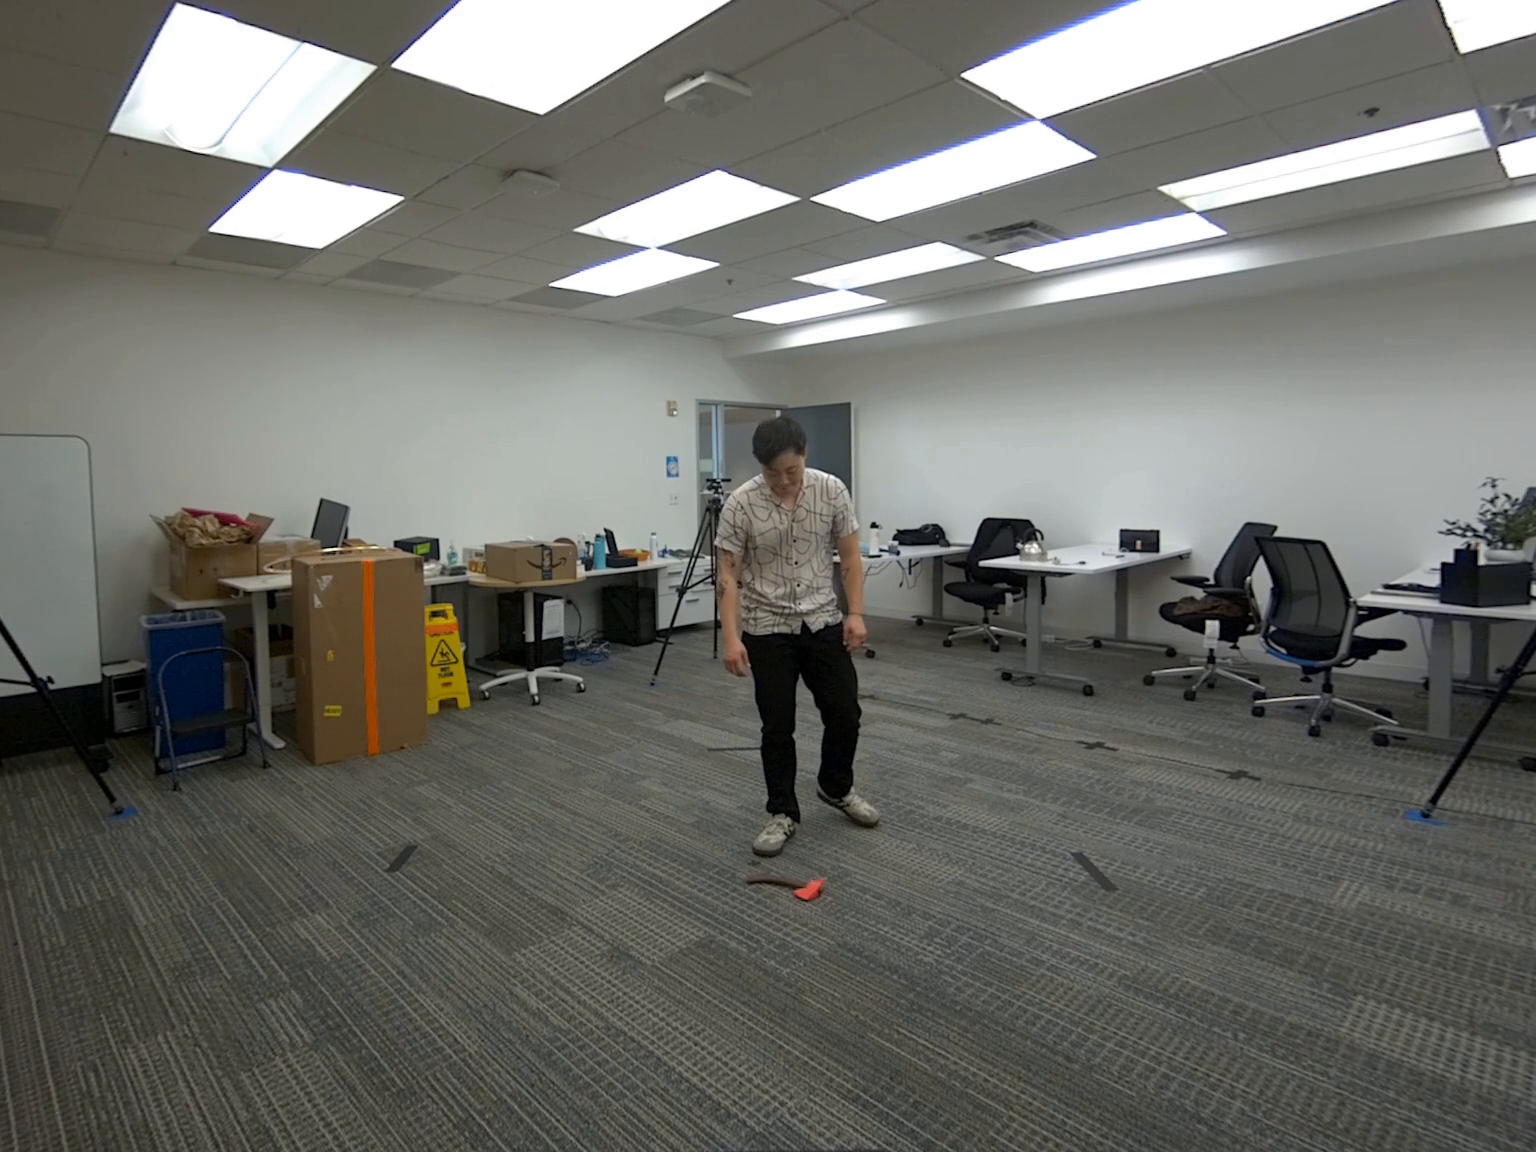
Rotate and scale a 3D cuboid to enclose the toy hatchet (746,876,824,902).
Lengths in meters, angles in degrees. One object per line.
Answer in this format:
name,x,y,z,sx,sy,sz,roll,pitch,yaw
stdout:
toy hatchet,0.055,1.062,2.889,0.273,0.029,0.131,-2,12,11
